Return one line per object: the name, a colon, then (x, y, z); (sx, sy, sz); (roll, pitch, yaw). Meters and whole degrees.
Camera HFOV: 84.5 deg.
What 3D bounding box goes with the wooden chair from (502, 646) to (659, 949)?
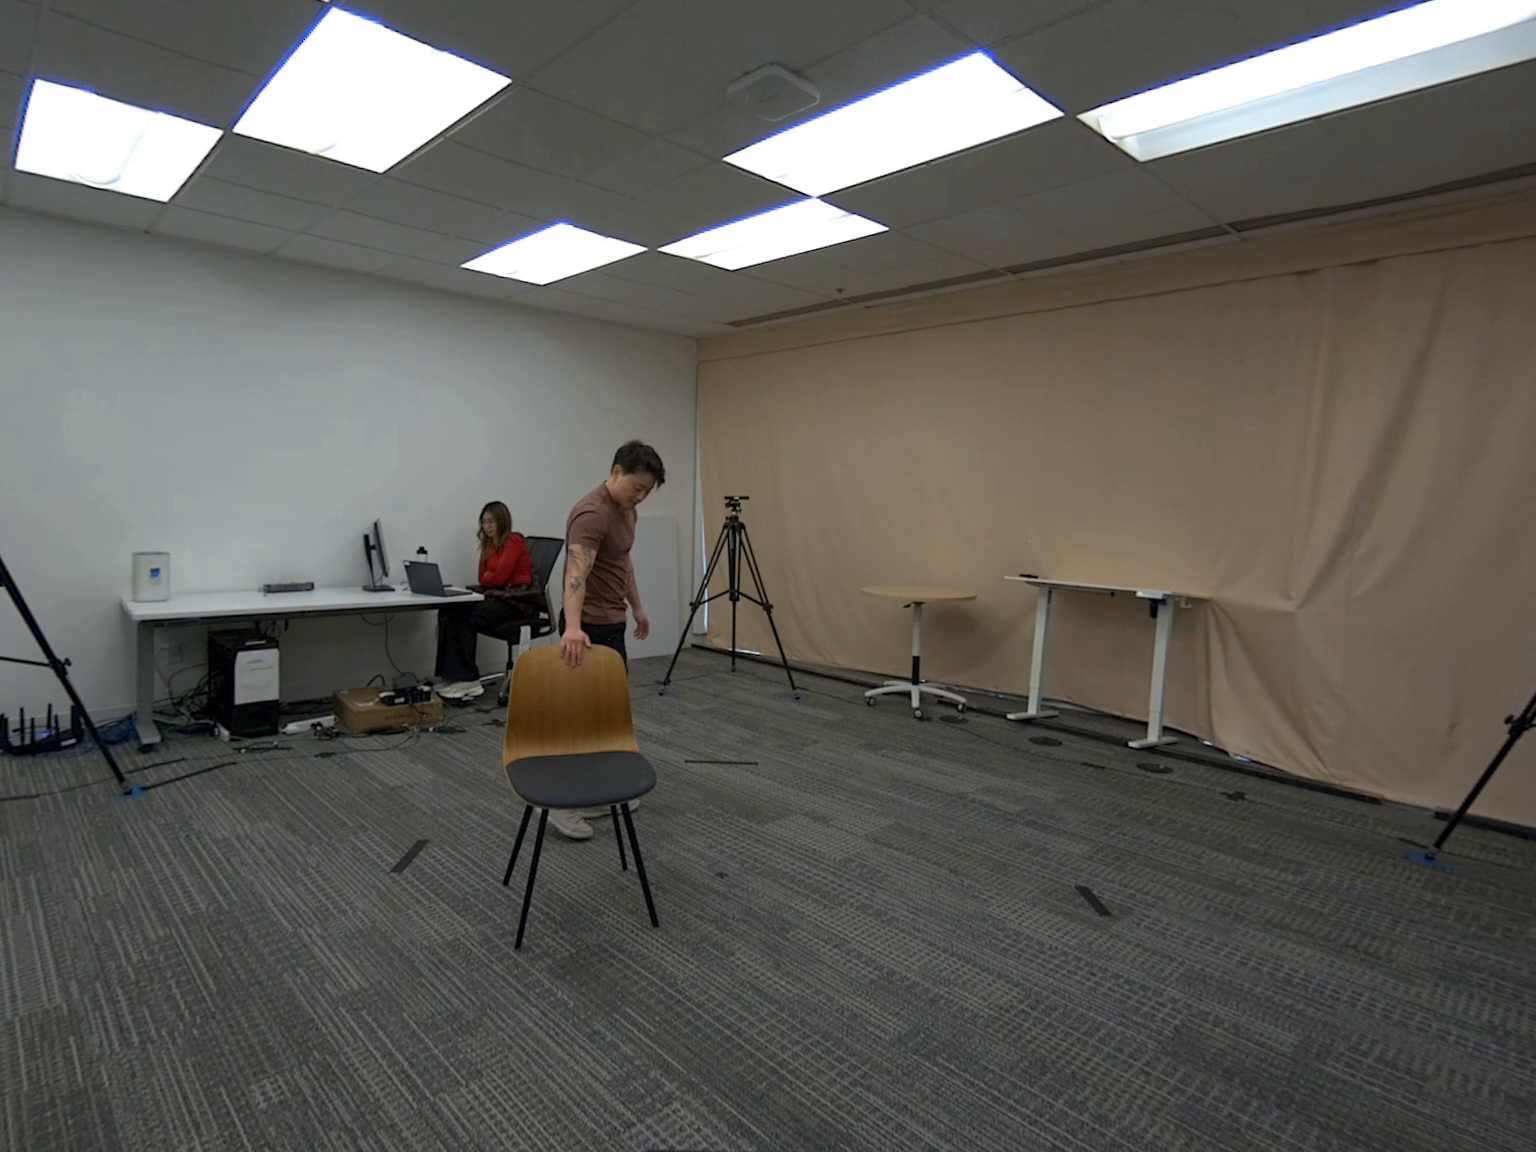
wooden chair: (-0.633, 0.694, 2.810); (0.470, 0.878, 0.531); (0, -1, -22)
